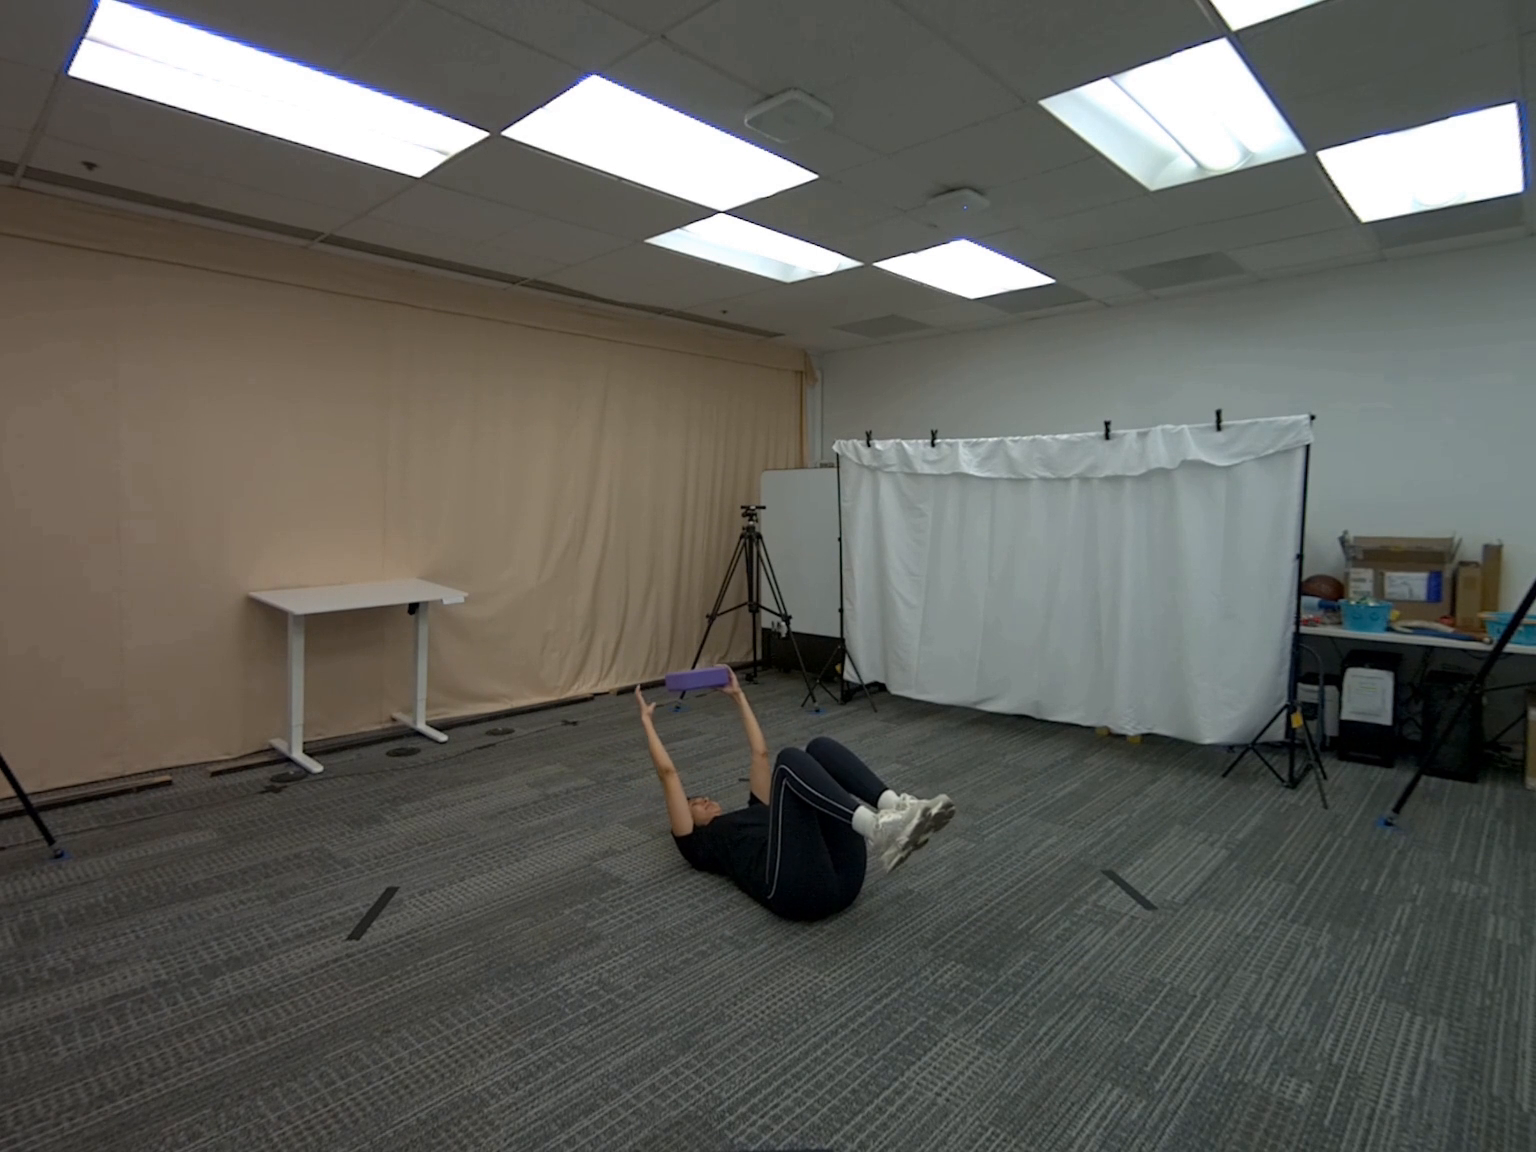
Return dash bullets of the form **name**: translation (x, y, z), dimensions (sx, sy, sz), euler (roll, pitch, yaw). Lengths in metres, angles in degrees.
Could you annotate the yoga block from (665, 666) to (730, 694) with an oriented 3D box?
- **yoga block**: translation (-0.298, 0.431, 3.535), dimensions (0.222, 0.077, 0.153), euler (-4, -5, -37)
